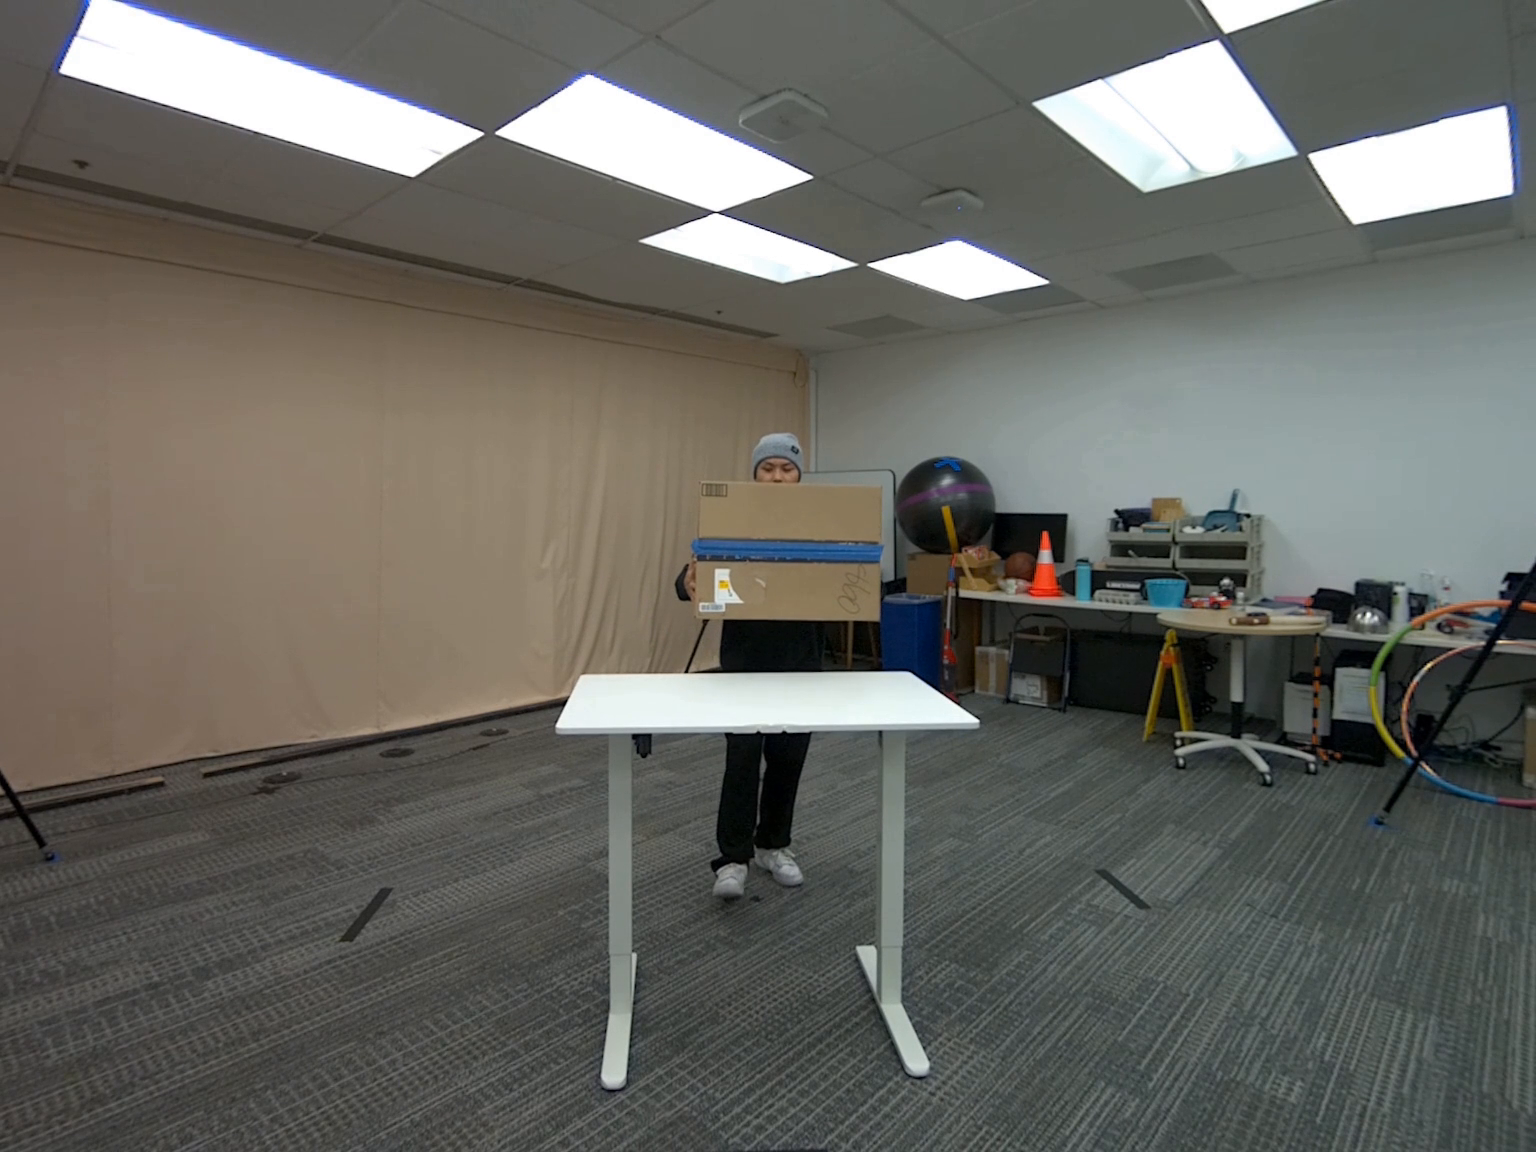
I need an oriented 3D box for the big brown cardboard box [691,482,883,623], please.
[{"bbox_3d":[0.051,-0.070,2.655,0.588,0.418,0.233,1,-3,-2],"label":"big brown cardboard box"}]
